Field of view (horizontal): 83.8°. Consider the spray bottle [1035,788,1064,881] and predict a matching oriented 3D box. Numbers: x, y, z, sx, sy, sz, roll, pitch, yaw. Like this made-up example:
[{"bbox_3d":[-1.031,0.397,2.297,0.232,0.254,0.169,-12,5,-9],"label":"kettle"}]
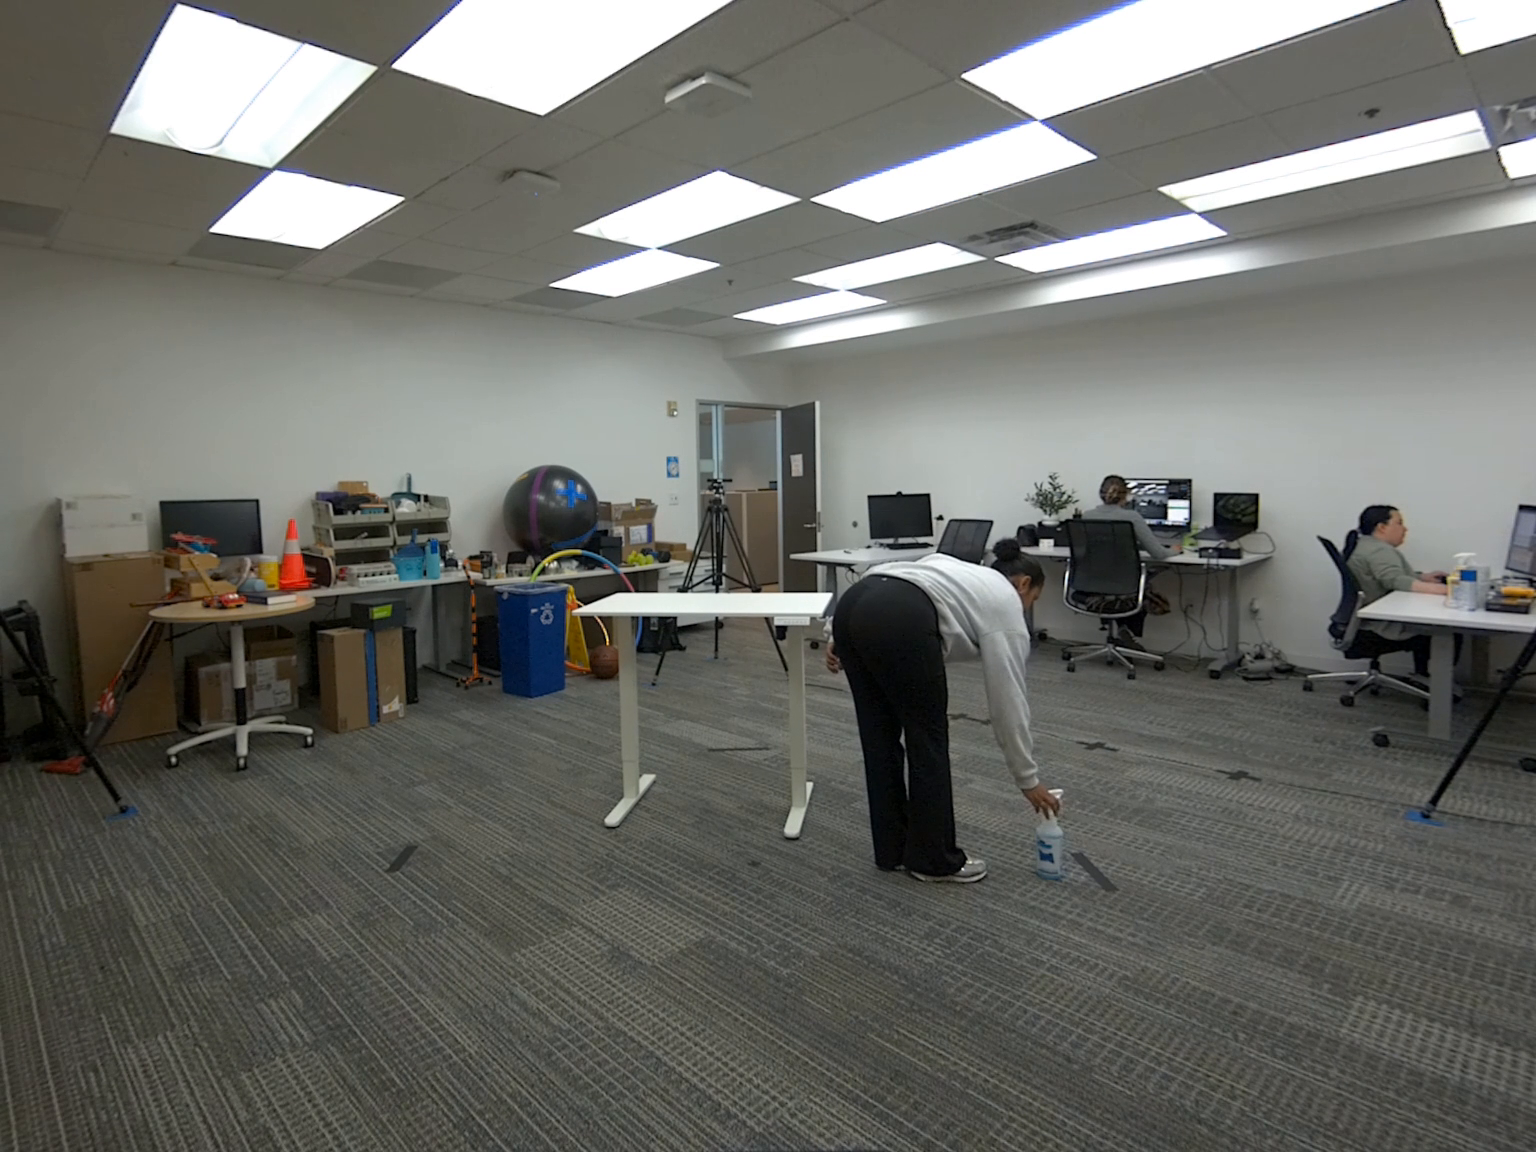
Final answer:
[{"bbox_3d":[0.980,0.893,2.974,0.091,0.297,0.086,1,2,10],"label":"spray bottle"}]
